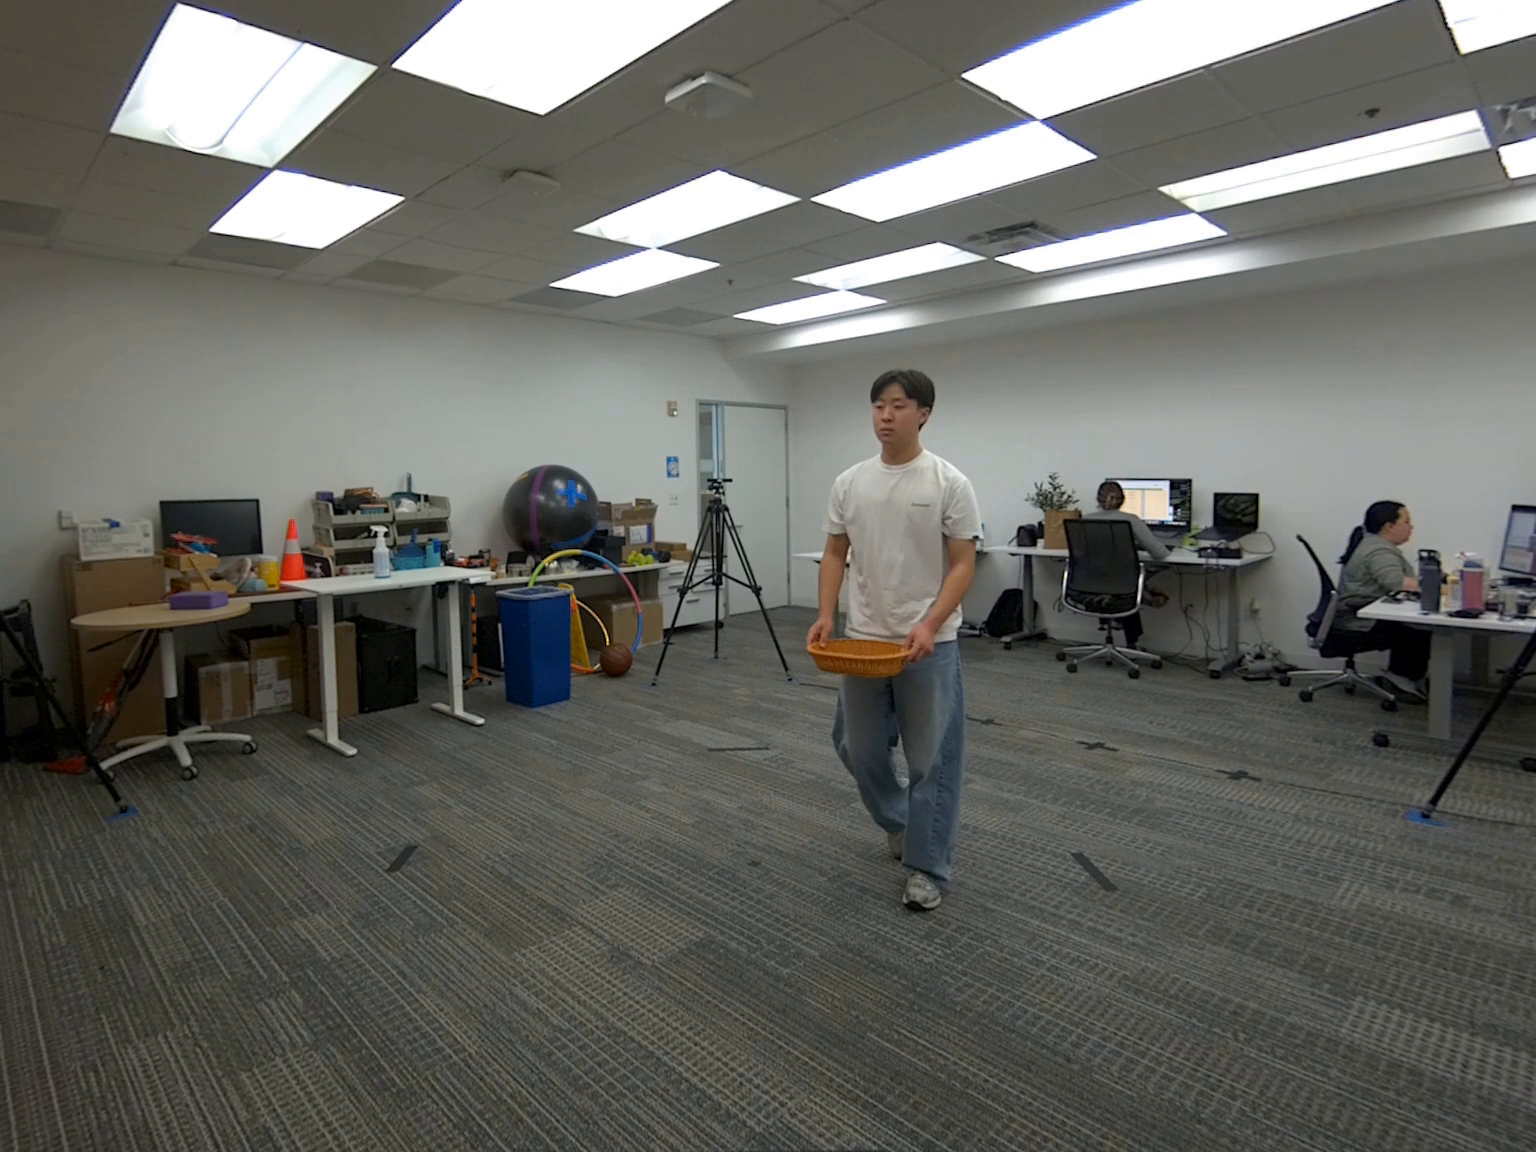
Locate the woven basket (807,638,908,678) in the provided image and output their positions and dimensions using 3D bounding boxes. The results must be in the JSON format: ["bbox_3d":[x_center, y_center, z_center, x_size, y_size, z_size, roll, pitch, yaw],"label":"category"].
[{"bbox_3d":[0.289,0.267,2.715,0.246,0.073,0.361,-8,7,-41],"label":"woven basket"}]
